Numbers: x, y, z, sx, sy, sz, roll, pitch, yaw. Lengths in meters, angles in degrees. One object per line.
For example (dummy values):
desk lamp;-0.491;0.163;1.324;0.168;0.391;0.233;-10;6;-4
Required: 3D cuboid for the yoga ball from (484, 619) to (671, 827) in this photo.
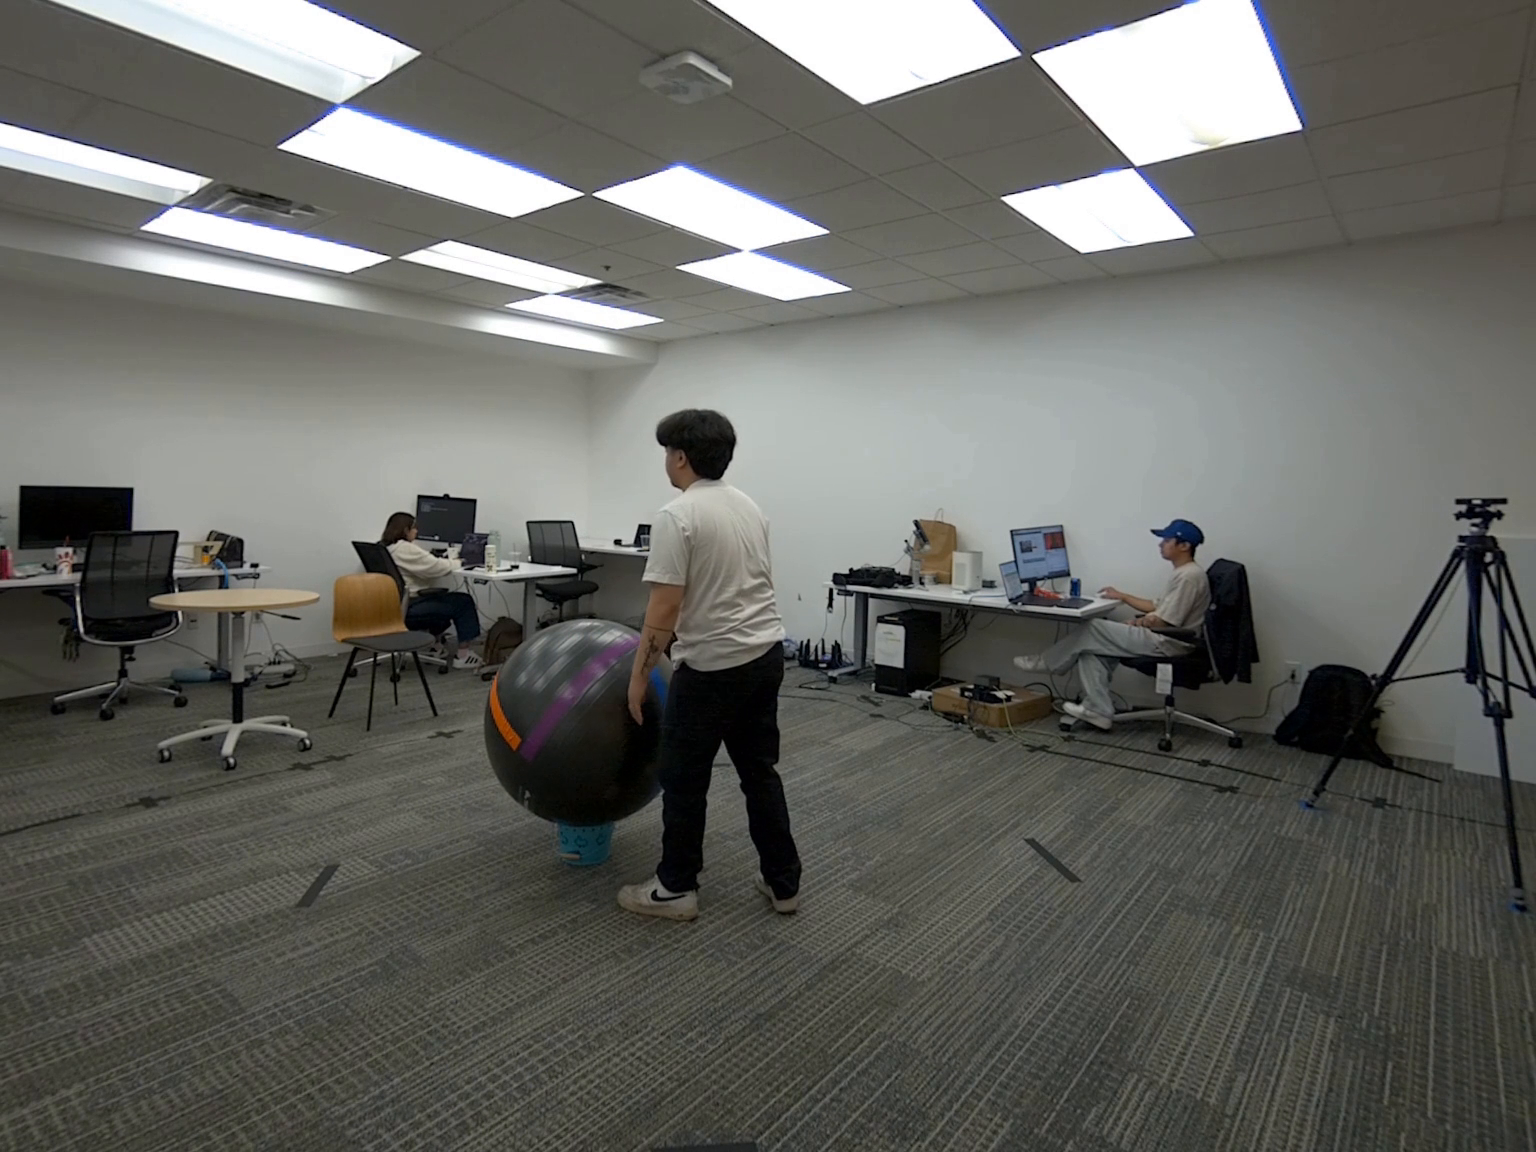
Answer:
yoga ball;-0.691;0.549;3.200;0.757;0.755;0.762;1;4;-2
